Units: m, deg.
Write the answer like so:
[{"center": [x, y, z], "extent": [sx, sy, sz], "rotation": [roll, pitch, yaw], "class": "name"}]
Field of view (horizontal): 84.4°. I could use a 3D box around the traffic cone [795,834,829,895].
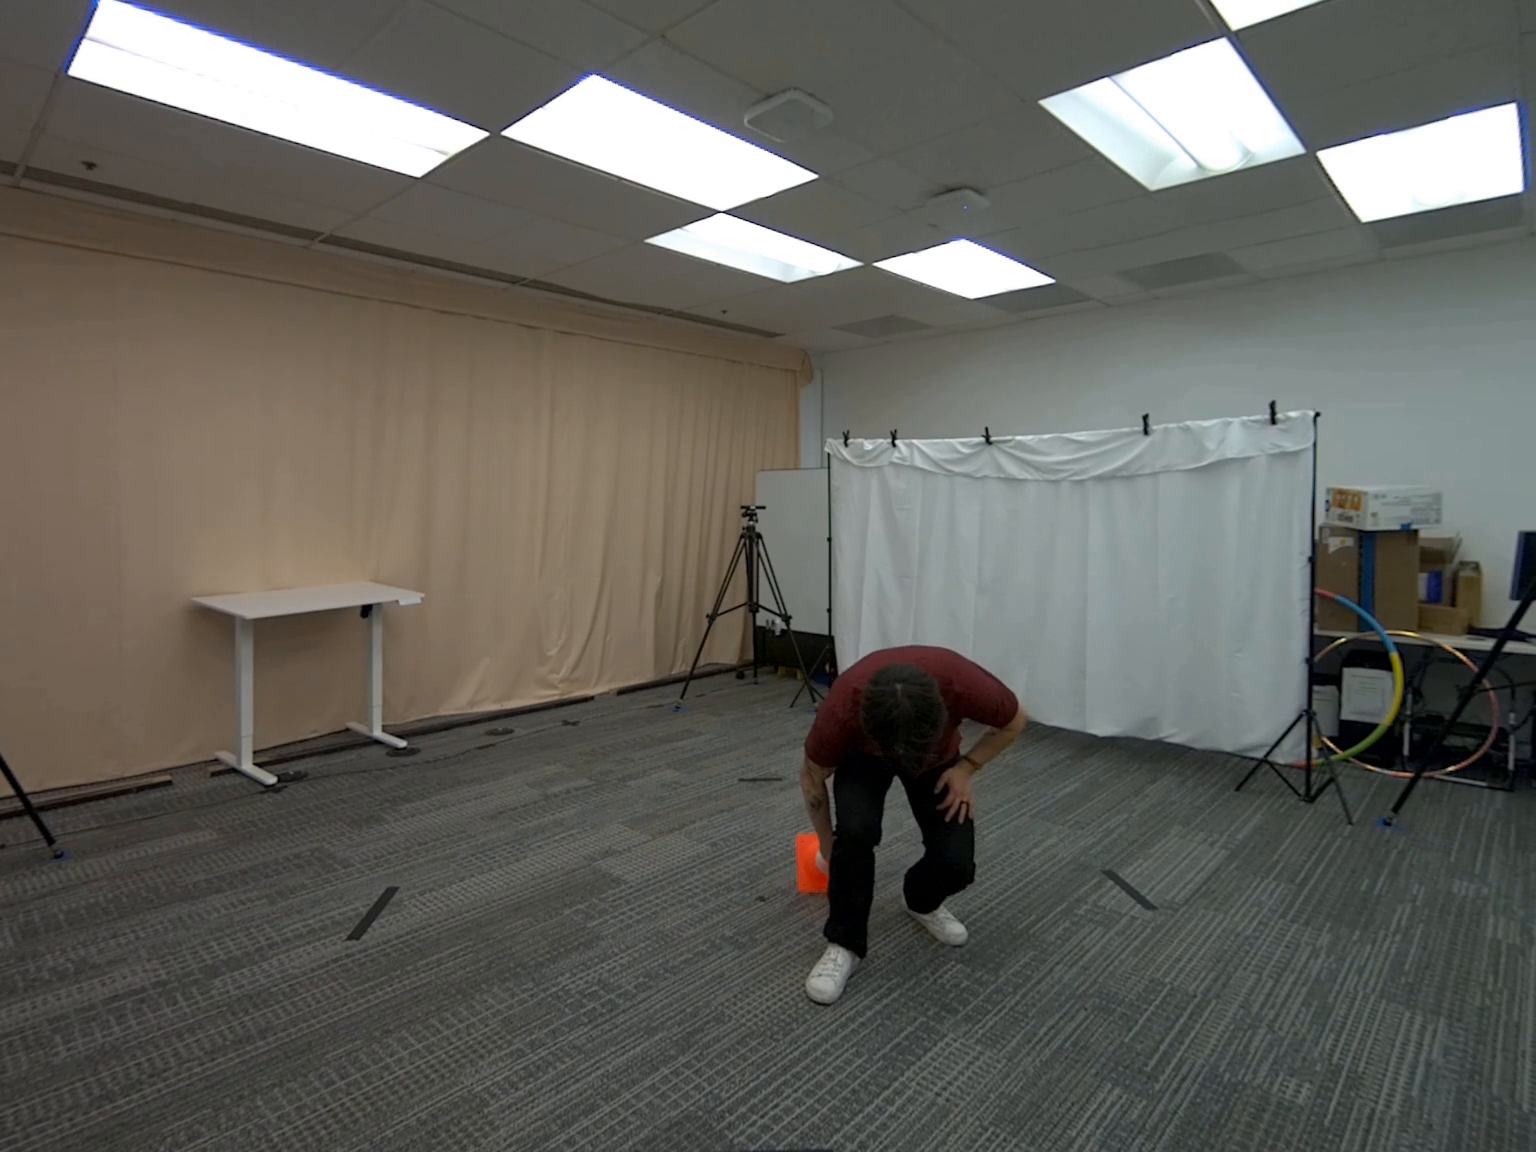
[{"center": [0.235, 0.980, 2.906], "extent": [0.204, 0.205, 0.381], "rotation": [7, -21, -5], "class": "traffic cone"}]
